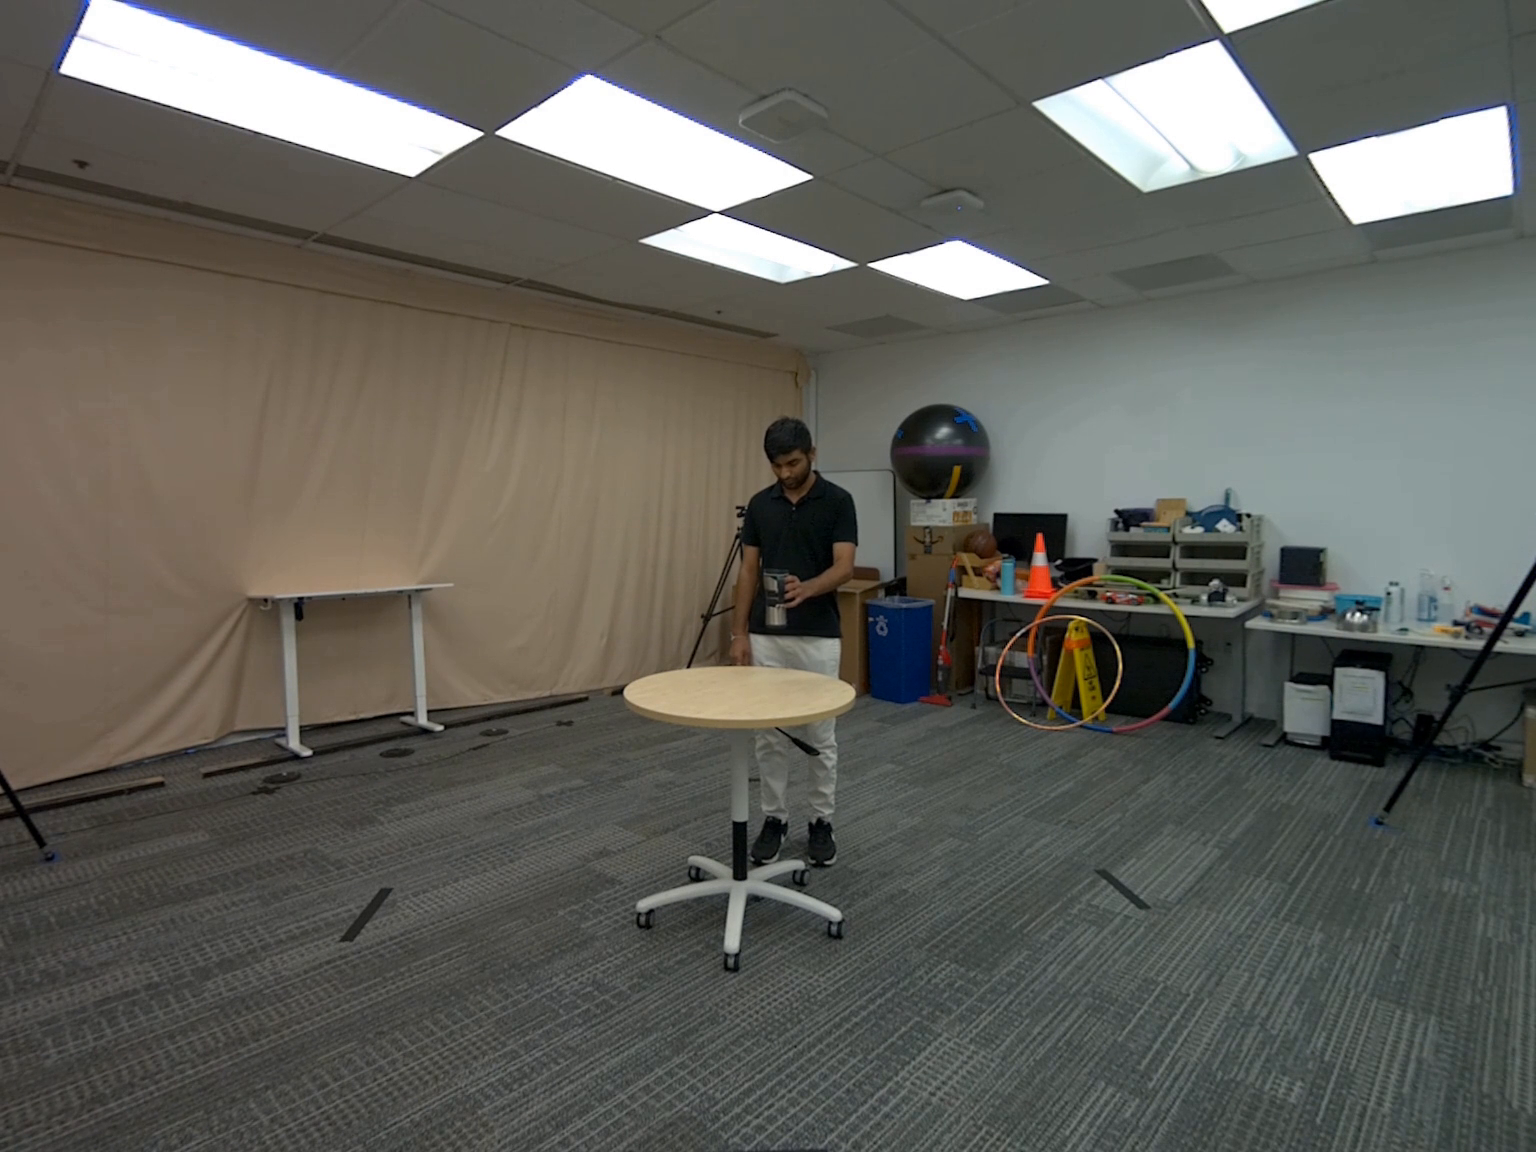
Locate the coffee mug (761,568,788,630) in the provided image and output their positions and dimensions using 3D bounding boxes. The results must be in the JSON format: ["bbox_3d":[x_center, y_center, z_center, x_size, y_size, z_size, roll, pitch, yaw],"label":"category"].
[{"bbox_3d":[0.015,0.080,2.919,0.089,0.203,0.120,4,1,16],"label":"coffee mug"}]
